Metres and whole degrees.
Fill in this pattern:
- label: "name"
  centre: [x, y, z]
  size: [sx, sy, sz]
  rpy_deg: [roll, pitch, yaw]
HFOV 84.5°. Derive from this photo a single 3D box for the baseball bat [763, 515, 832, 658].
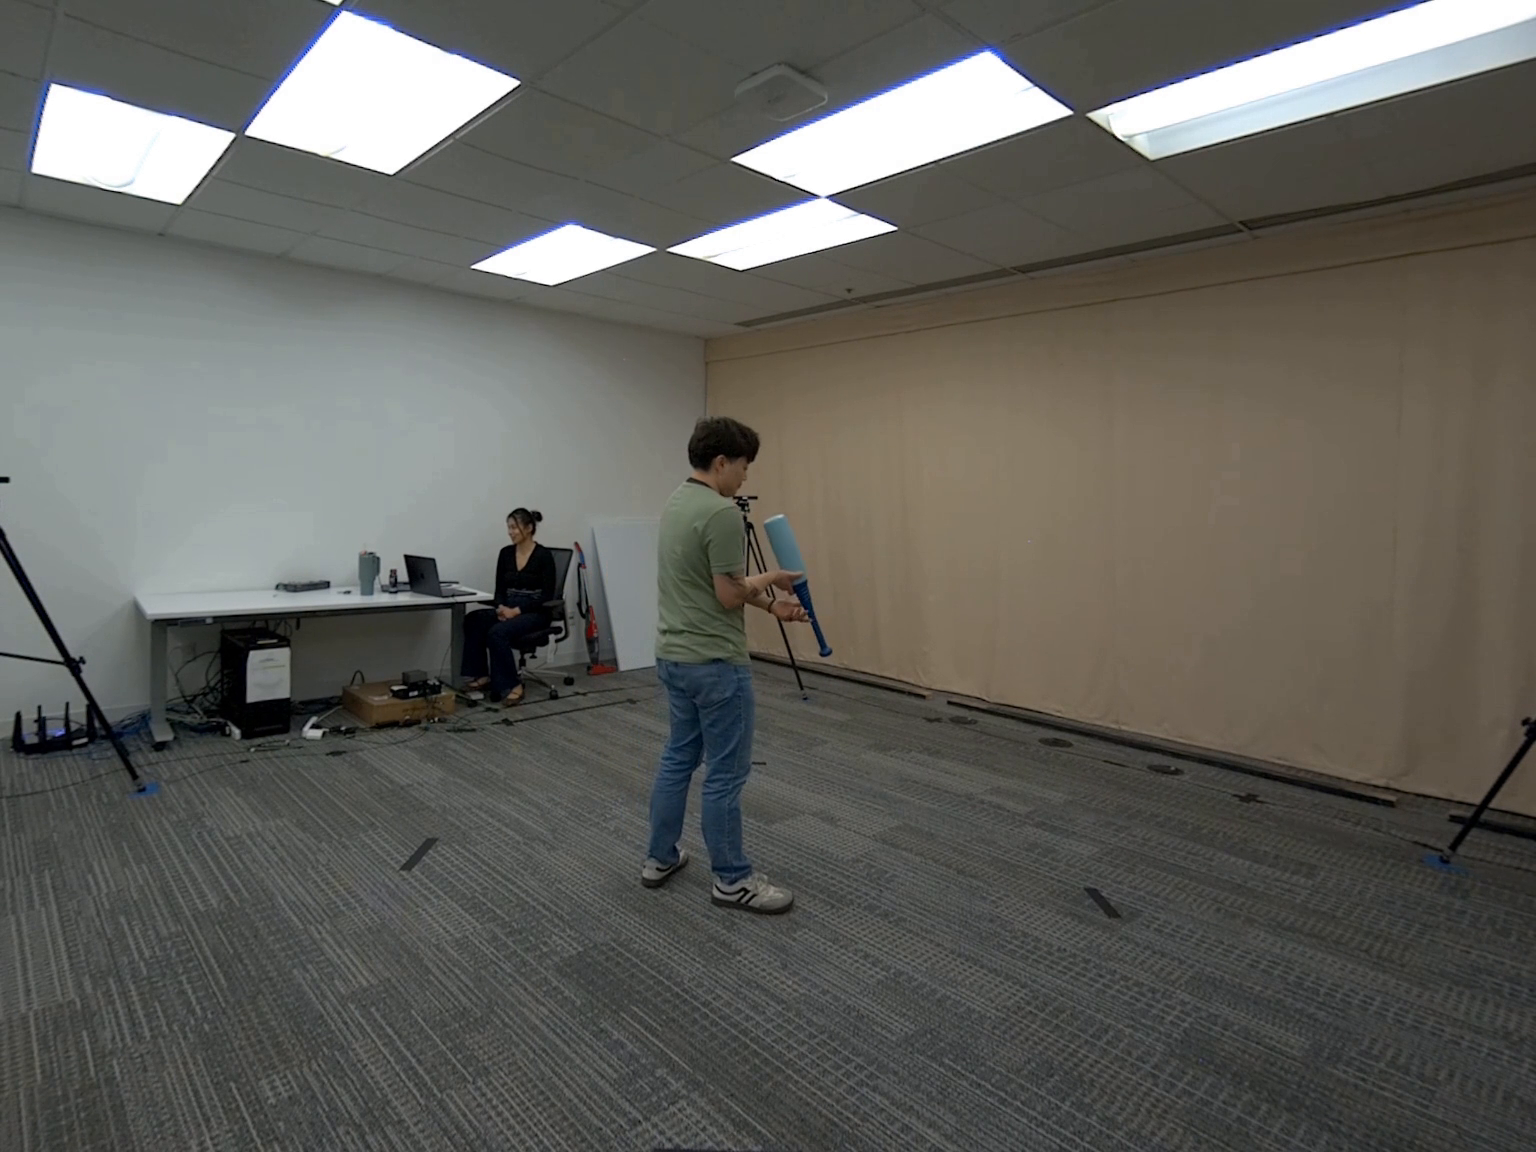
- label: "baseball bat"
  centre: [0.117, 0.041, 3.021]
  size: [0.089, 0.539, 0.089]
  rpy_deg: [-21, 7, 2]
